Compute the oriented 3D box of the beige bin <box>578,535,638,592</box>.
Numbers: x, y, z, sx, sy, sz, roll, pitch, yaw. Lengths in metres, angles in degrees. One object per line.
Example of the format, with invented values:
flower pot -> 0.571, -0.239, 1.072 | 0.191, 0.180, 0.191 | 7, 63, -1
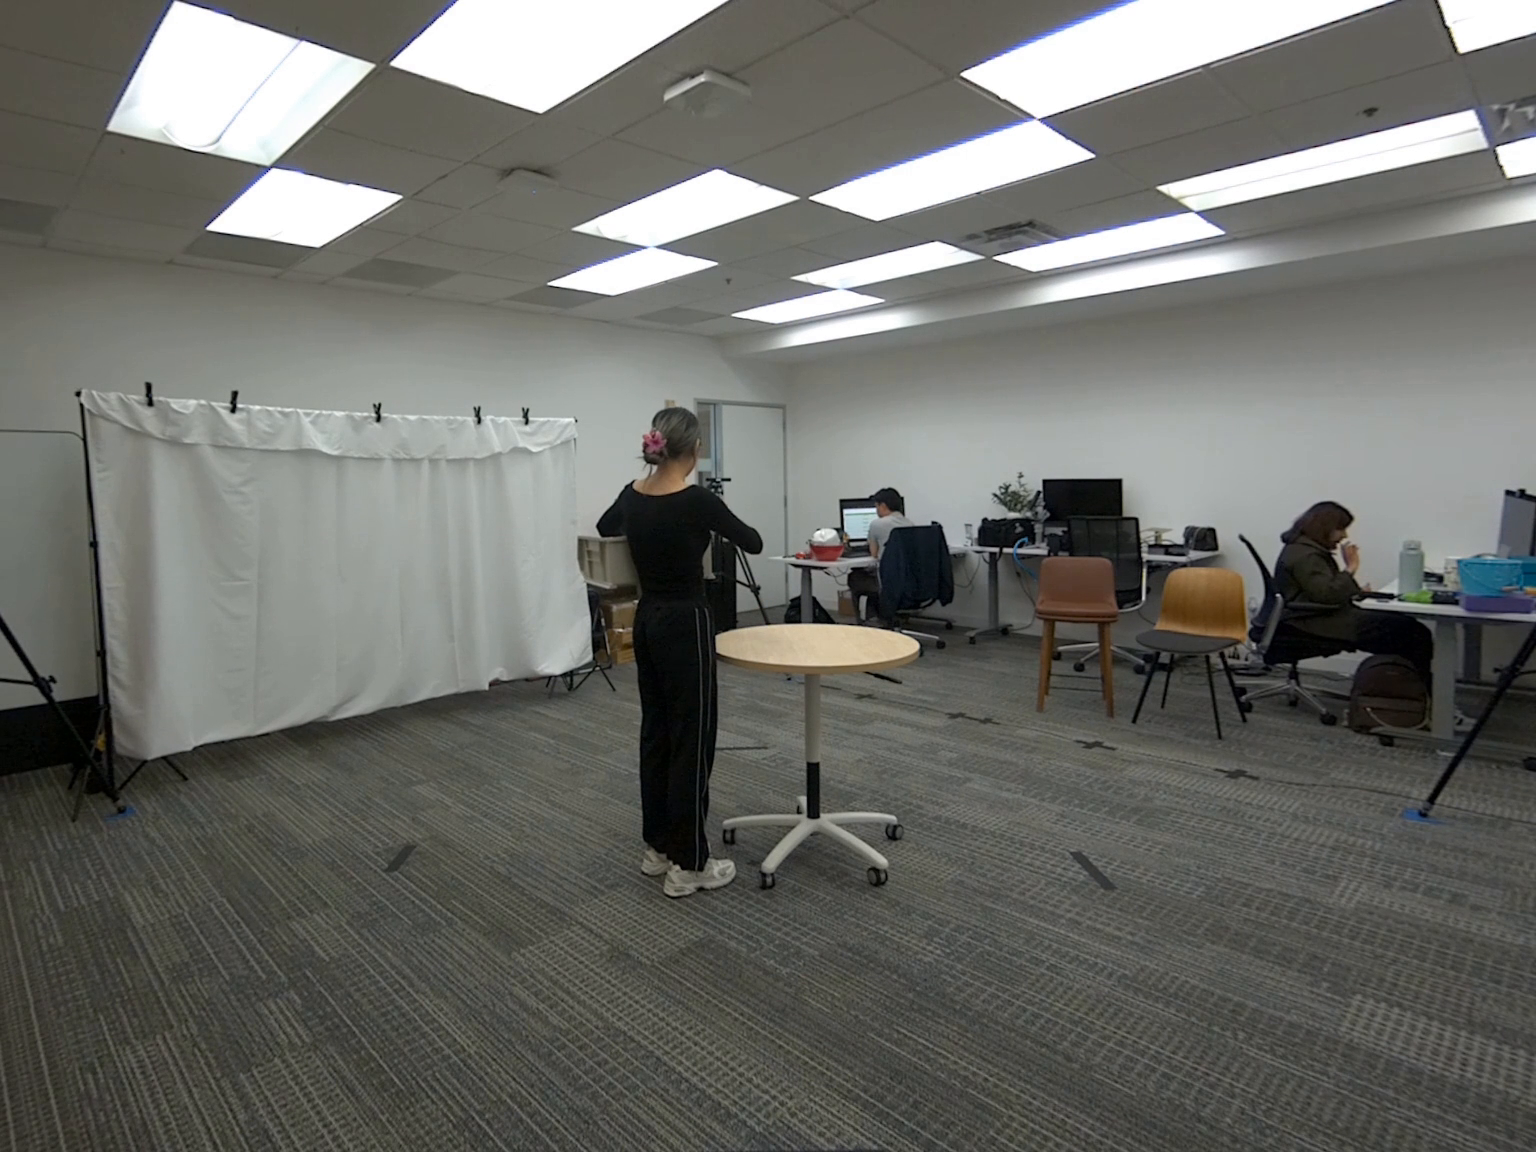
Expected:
beige bin -> -0.463, -0.074, 3.212 | 0.414, 0.188, 0.387 | -6, 8, -26
